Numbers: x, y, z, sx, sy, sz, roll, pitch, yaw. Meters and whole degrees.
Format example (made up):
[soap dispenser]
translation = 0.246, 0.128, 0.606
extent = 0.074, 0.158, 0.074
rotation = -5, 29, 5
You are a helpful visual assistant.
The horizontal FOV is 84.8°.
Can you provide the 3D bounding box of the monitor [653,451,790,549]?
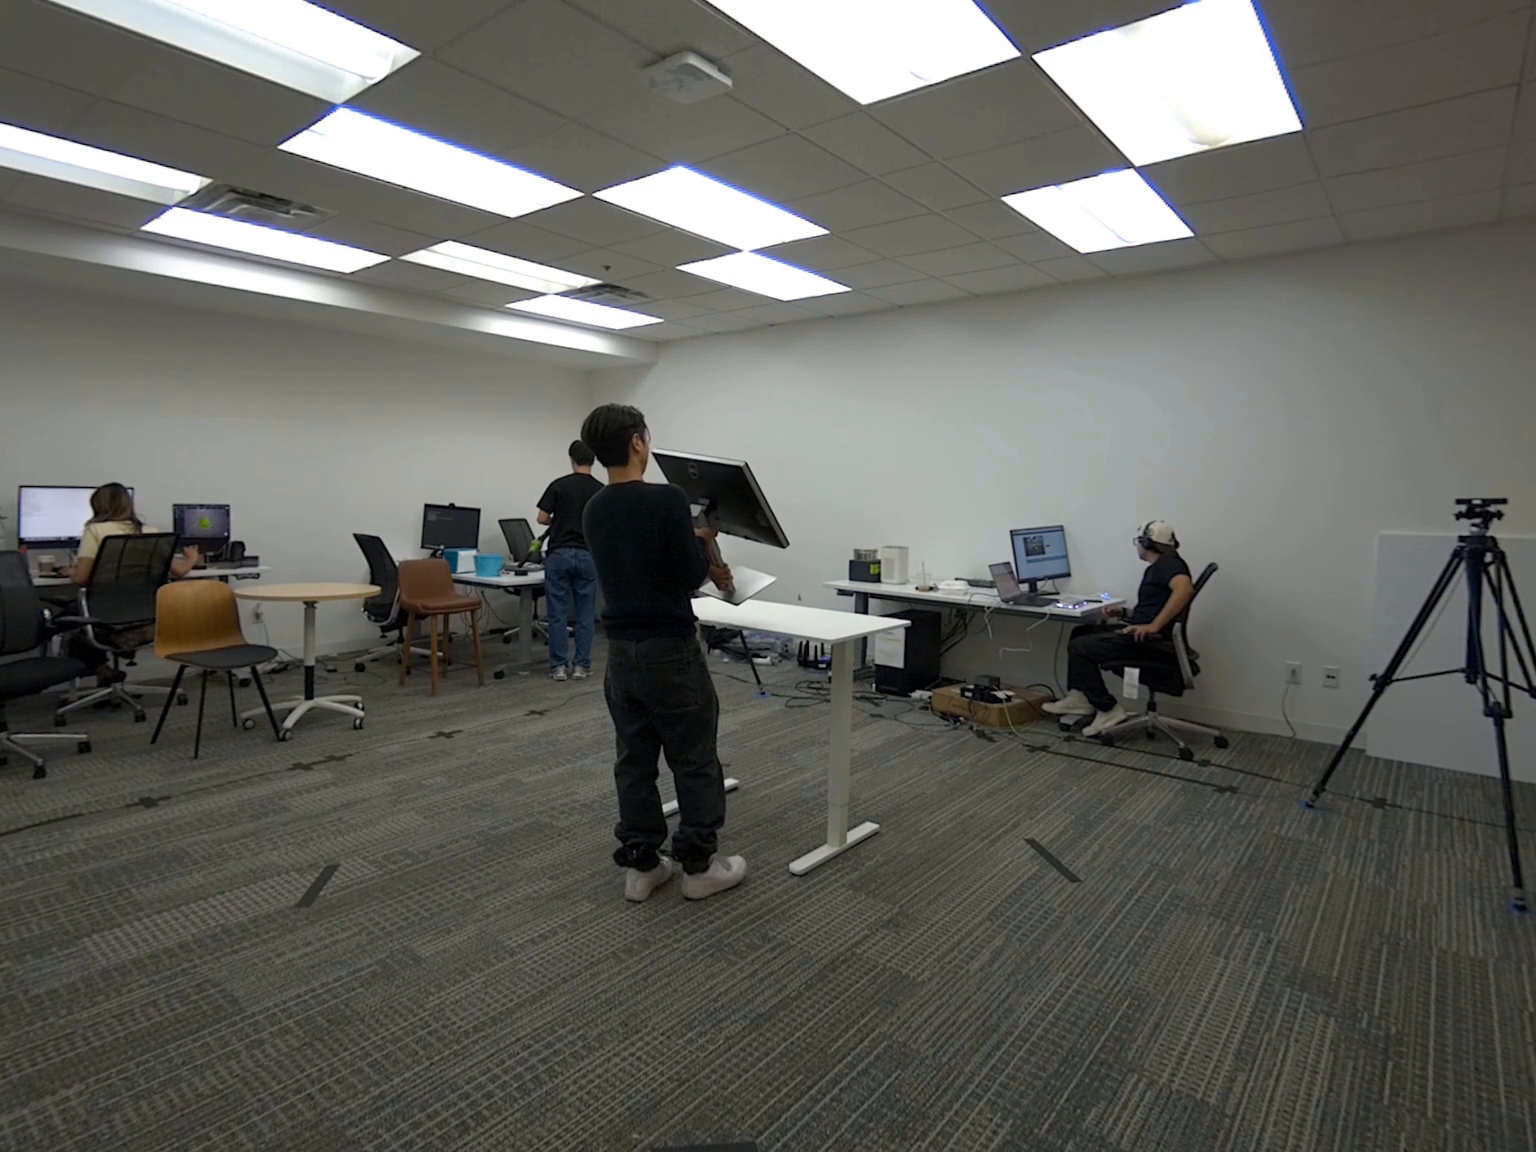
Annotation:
[monitor]
translation = -0.190, -0.193, 3.079
extent = 0.185, 0.509, 0.559
rotation = -31, 28, -32
